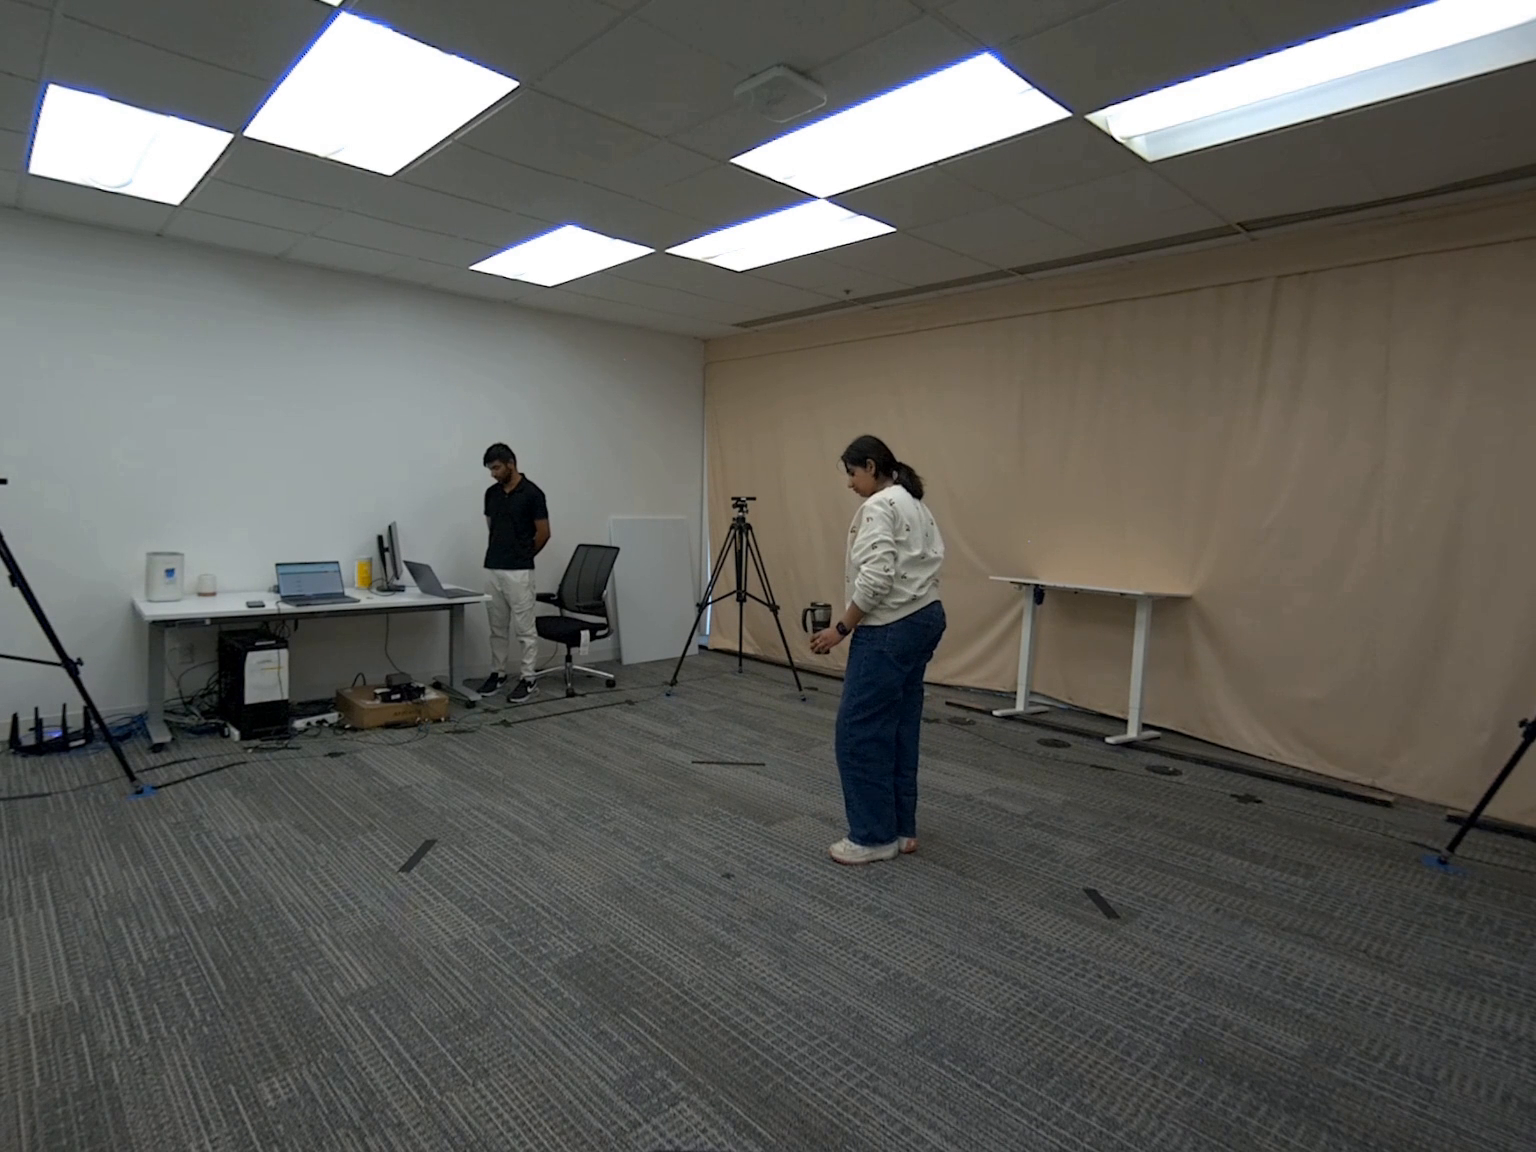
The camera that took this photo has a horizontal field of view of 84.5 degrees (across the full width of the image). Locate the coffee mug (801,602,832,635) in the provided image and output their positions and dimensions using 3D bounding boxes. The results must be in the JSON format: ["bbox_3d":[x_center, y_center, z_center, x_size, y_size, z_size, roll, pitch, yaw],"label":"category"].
[{"bbox_3d":[0.188,0.211,3.387,0.122,0.202,0.088,5,4,1],"label":"coffee mug"}]
